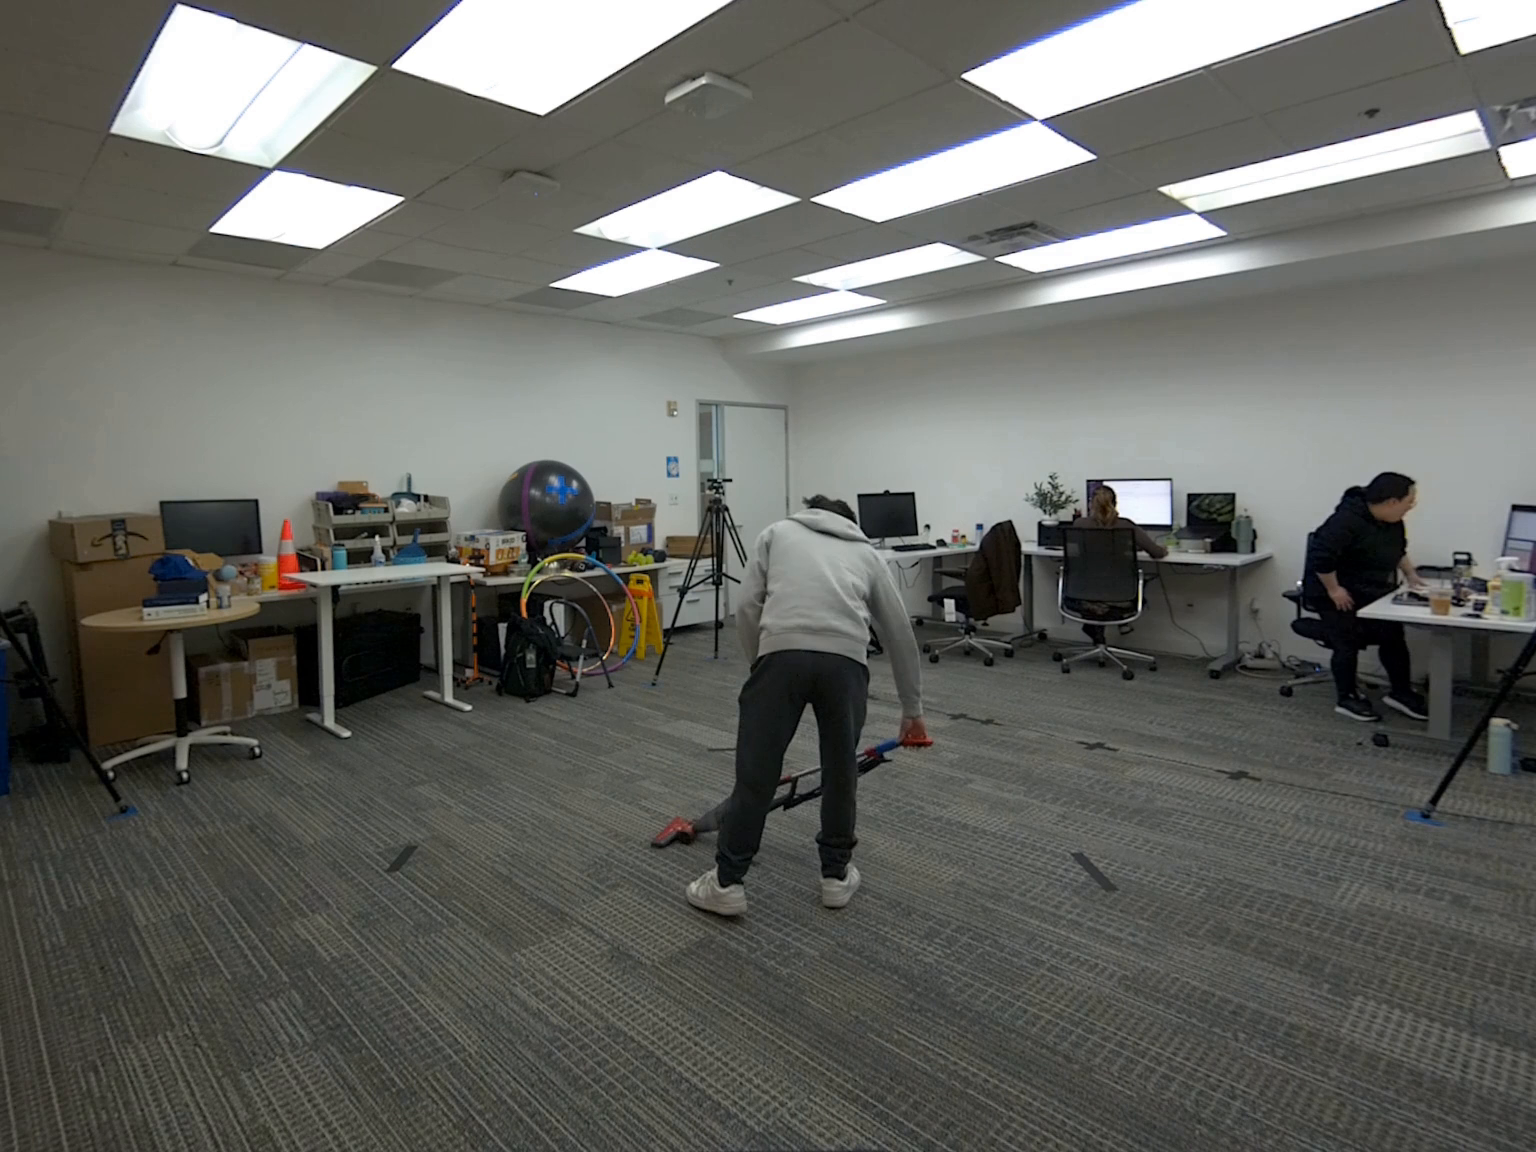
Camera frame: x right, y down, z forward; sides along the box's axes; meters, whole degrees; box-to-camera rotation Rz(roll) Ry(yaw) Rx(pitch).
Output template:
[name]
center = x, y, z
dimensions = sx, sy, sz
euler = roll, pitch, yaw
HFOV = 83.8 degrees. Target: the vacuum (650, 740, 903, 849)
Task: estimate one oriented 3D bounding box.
[vacuum]
center = 0.092, 0.800, 3.168
dimensions = 1.059, 0.146, 0.247
euler = -24, -9, 19
